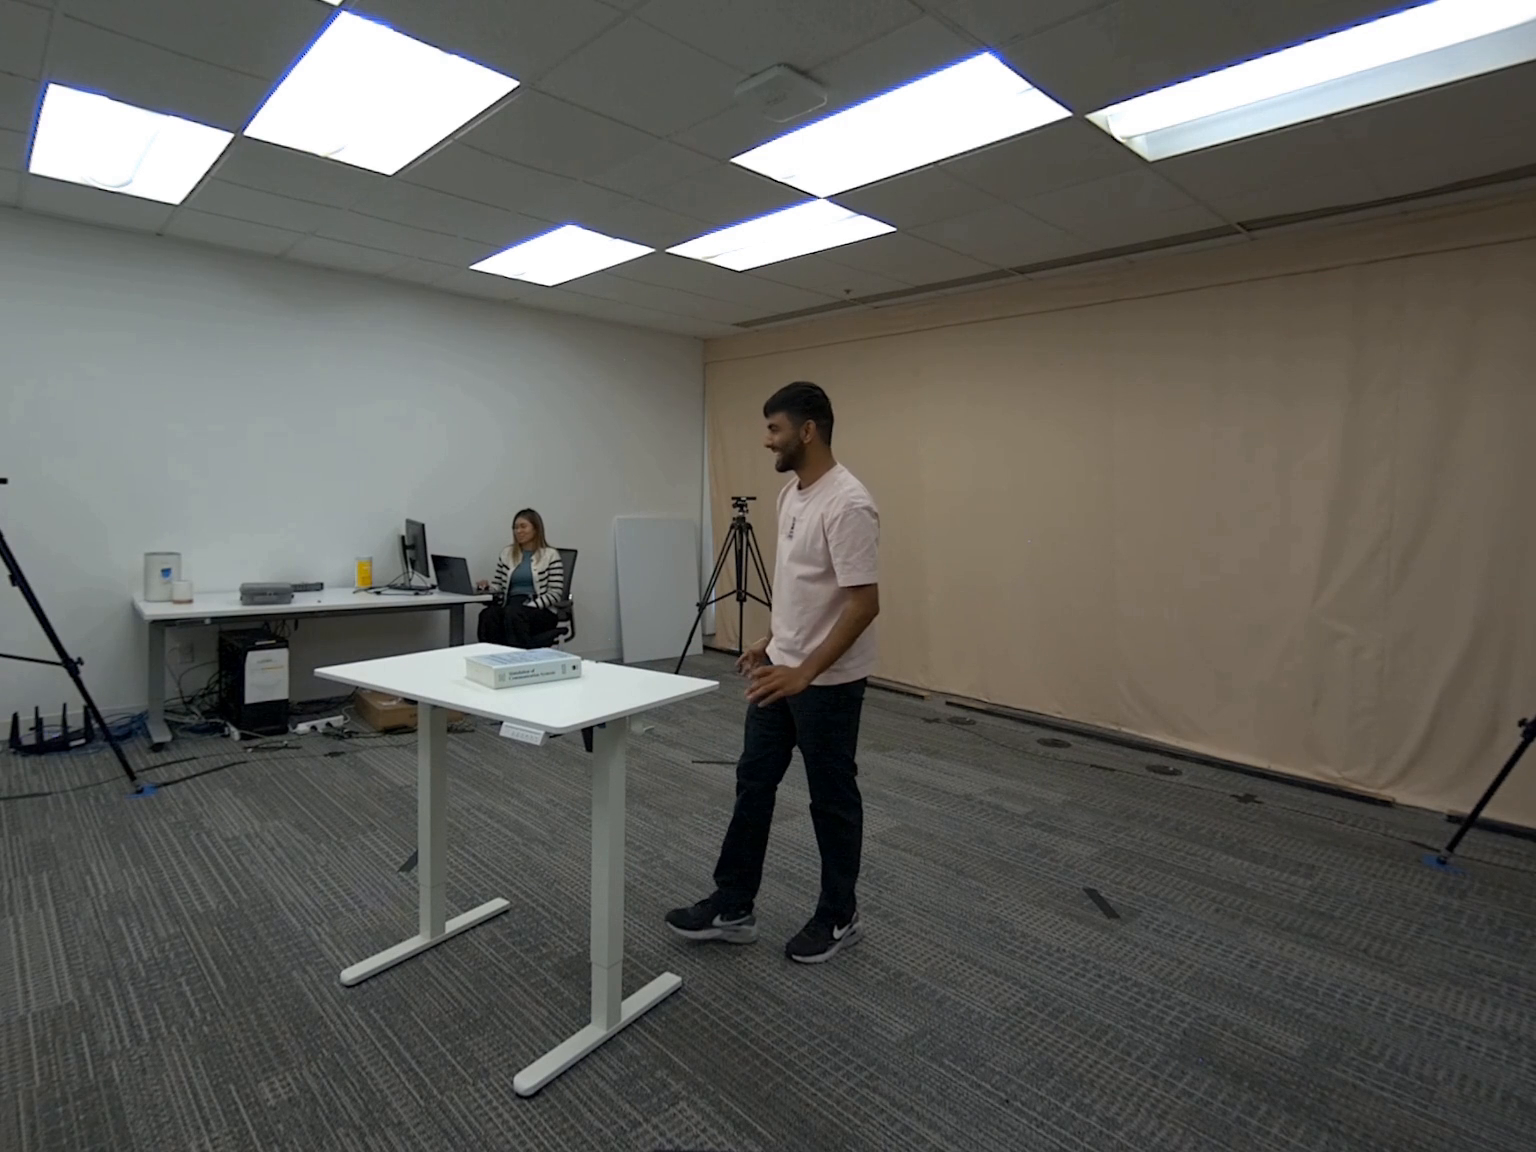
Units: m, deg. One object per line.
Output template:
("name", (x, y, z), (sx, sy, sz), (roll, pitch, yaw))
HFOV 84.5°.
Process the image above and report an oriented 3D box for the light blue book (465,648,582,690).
("light blue book", (-0.680, 0.251, 2.334), (0.255, 0.059, 0.196), (-3, 6, -43))
